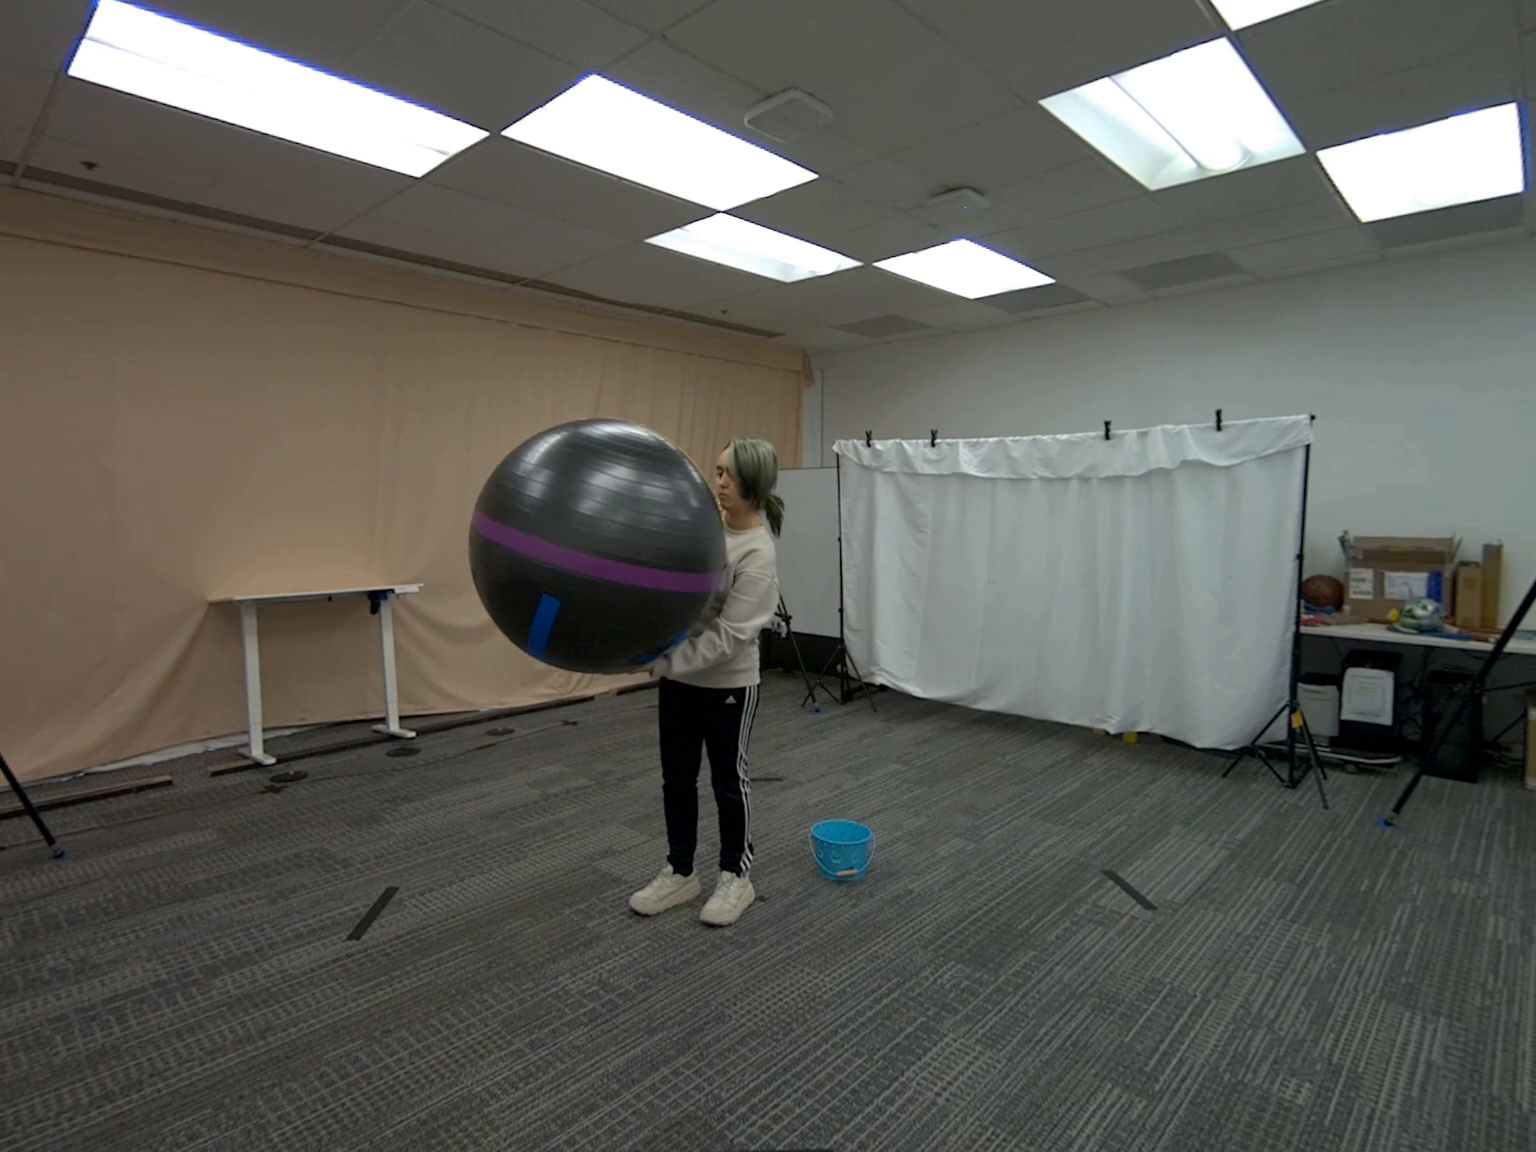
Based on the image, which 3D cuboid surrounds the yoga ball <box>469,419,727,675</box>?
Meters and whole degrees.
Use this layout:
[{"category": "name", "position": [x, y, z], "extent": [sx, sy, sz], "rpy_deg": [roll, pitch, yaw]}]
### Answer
[{"category": "yoga ball", "position": [-0.522, -0.086, 2.514], "extent": [0.757, 0.756, 0.761], "rpy_deg": [0, 4, -2]}]
